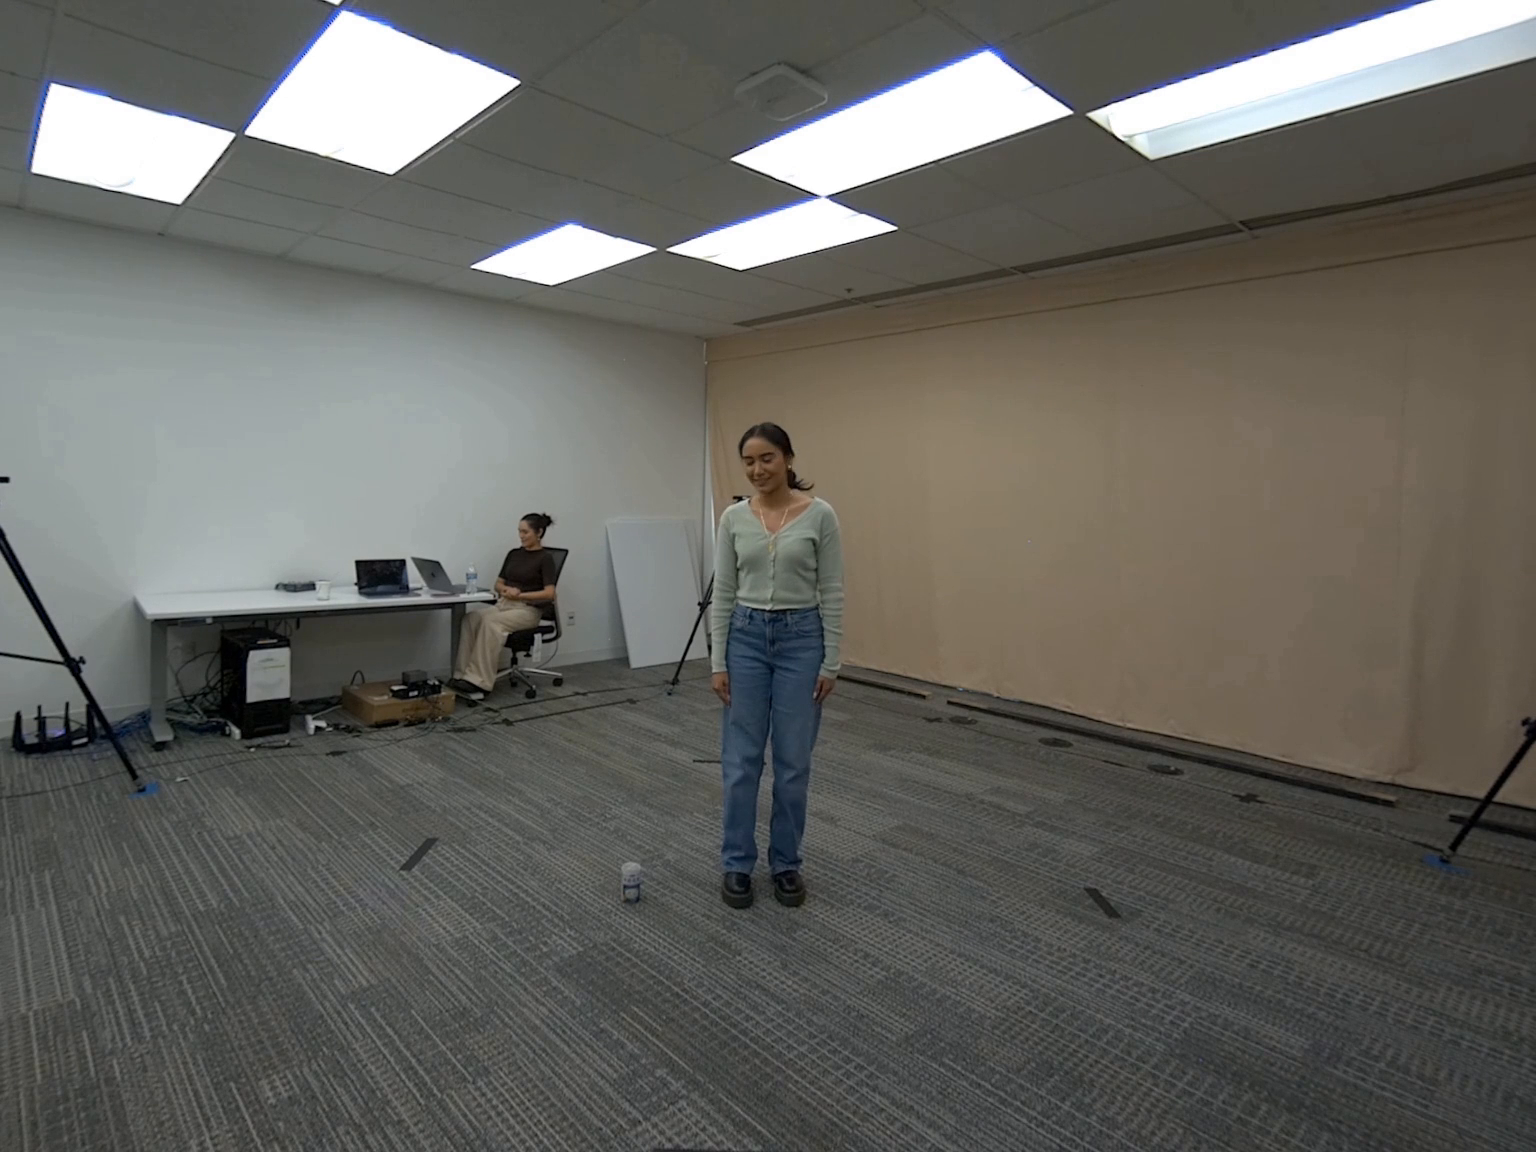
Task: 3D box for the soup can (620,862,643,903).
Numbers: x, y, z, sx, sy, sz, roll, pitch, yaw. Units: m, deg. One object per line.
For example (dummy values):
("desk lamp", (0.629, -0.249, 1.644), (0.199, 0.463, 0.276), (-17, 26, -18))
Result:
("soup can", (-0.478, 1.059, 2.888), (0.067, 0.121, 0.067), (3, 3, -2))
